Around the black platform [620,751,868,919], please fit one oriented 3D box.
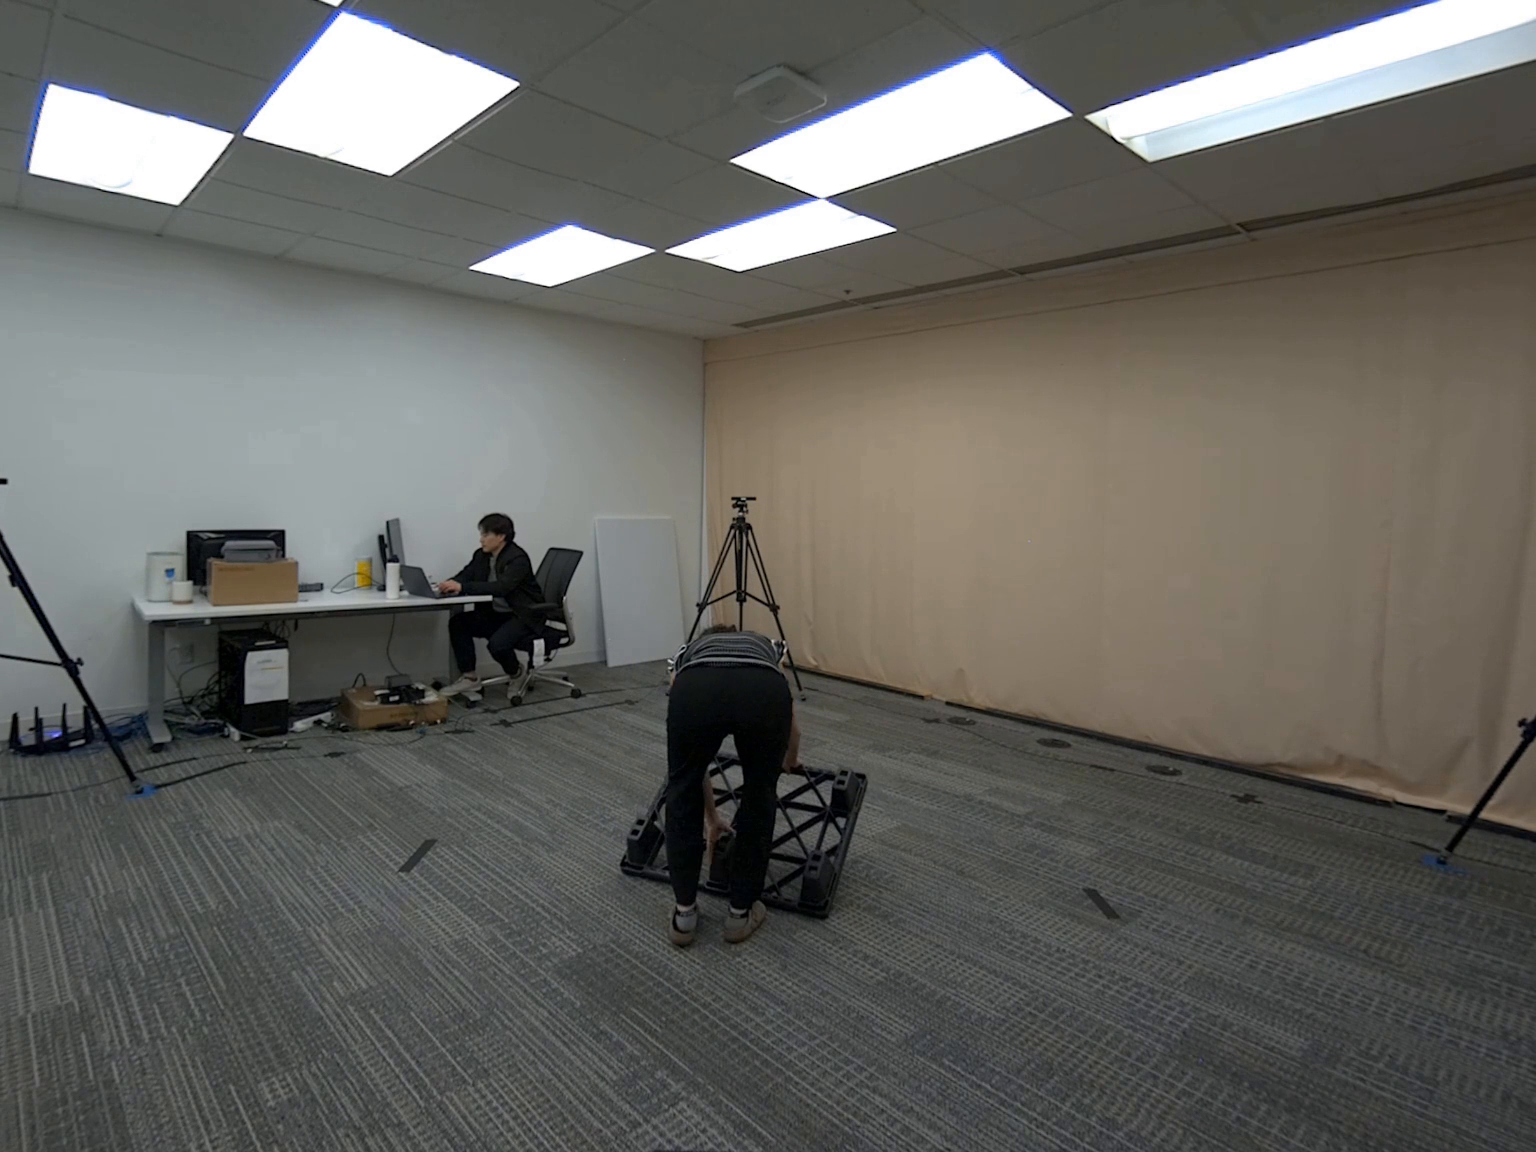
[{"bbox_3d":[-0.097,0.893,3.128,0.820,0.140,0.609,3,37,23],"label":"black platform"}]
